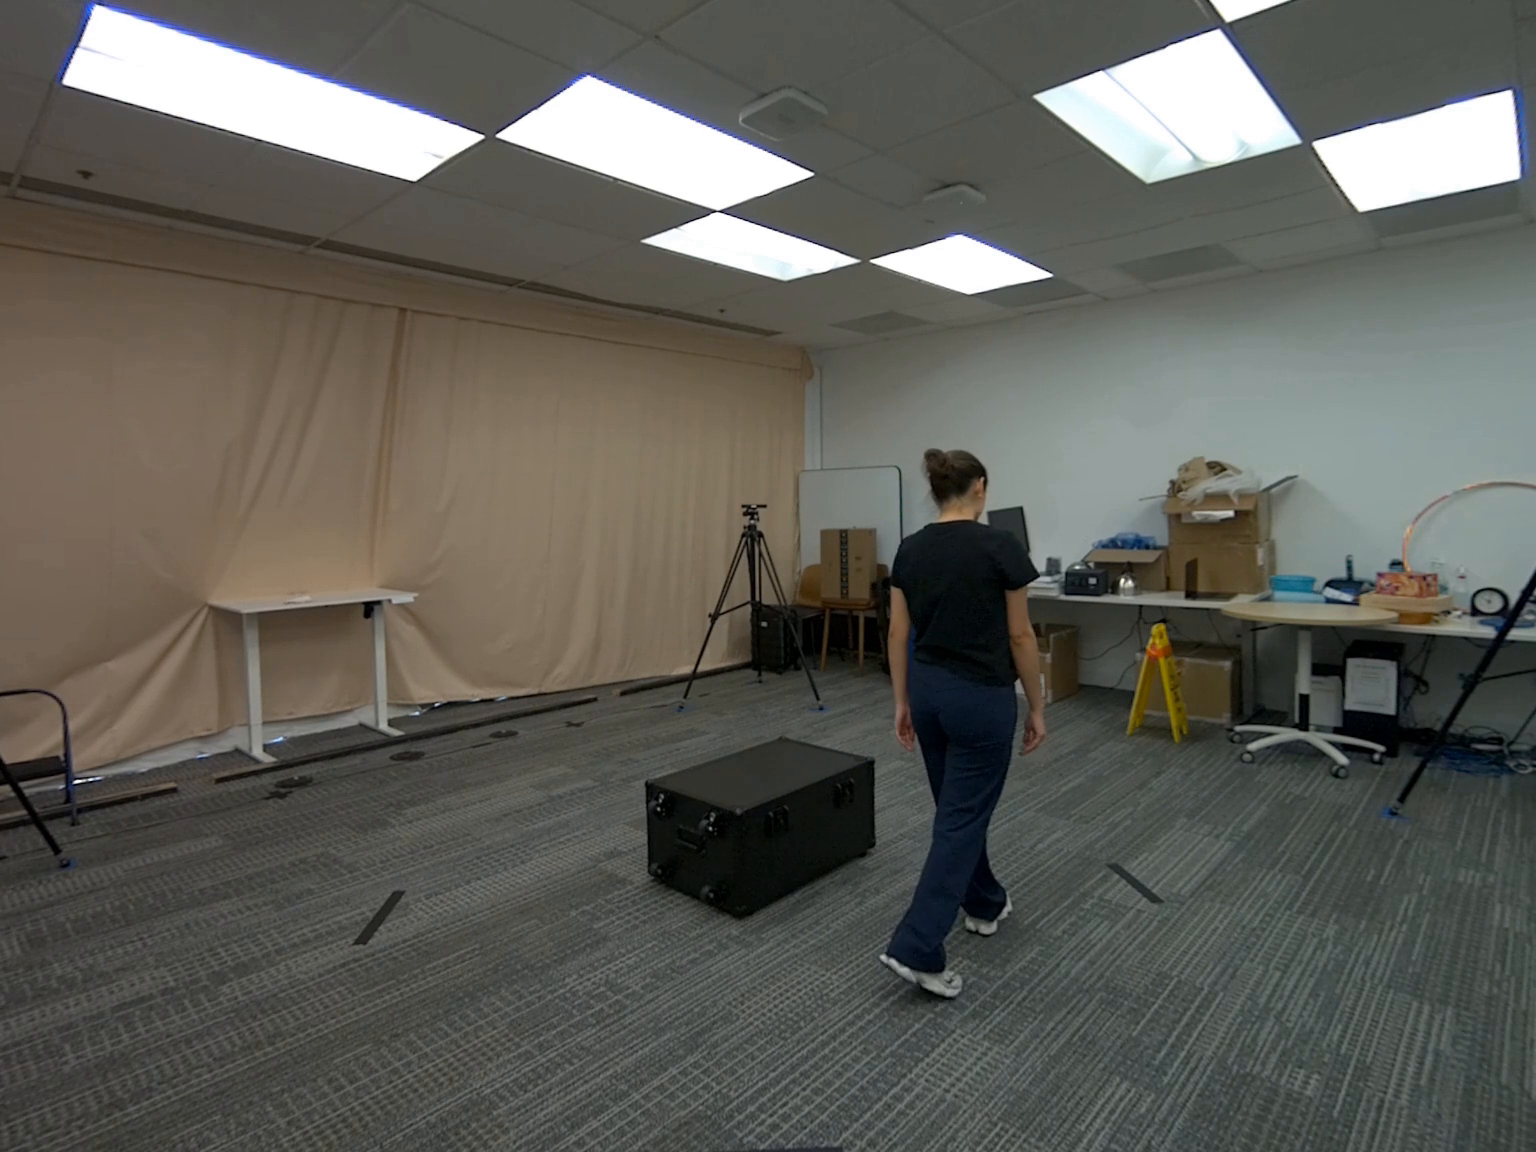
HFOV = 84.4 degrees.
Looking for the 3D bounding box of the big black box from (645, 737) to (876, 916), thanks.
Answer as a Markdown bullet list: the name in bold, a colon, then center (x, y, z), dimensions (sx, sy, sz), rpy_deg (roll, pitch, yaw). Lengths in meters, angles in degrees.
- **big black box**: center (-0.022, 0.929, 3.216), dimensions (0.538, 0.395, 0.835), rpy_deg (3, 5, 43)
